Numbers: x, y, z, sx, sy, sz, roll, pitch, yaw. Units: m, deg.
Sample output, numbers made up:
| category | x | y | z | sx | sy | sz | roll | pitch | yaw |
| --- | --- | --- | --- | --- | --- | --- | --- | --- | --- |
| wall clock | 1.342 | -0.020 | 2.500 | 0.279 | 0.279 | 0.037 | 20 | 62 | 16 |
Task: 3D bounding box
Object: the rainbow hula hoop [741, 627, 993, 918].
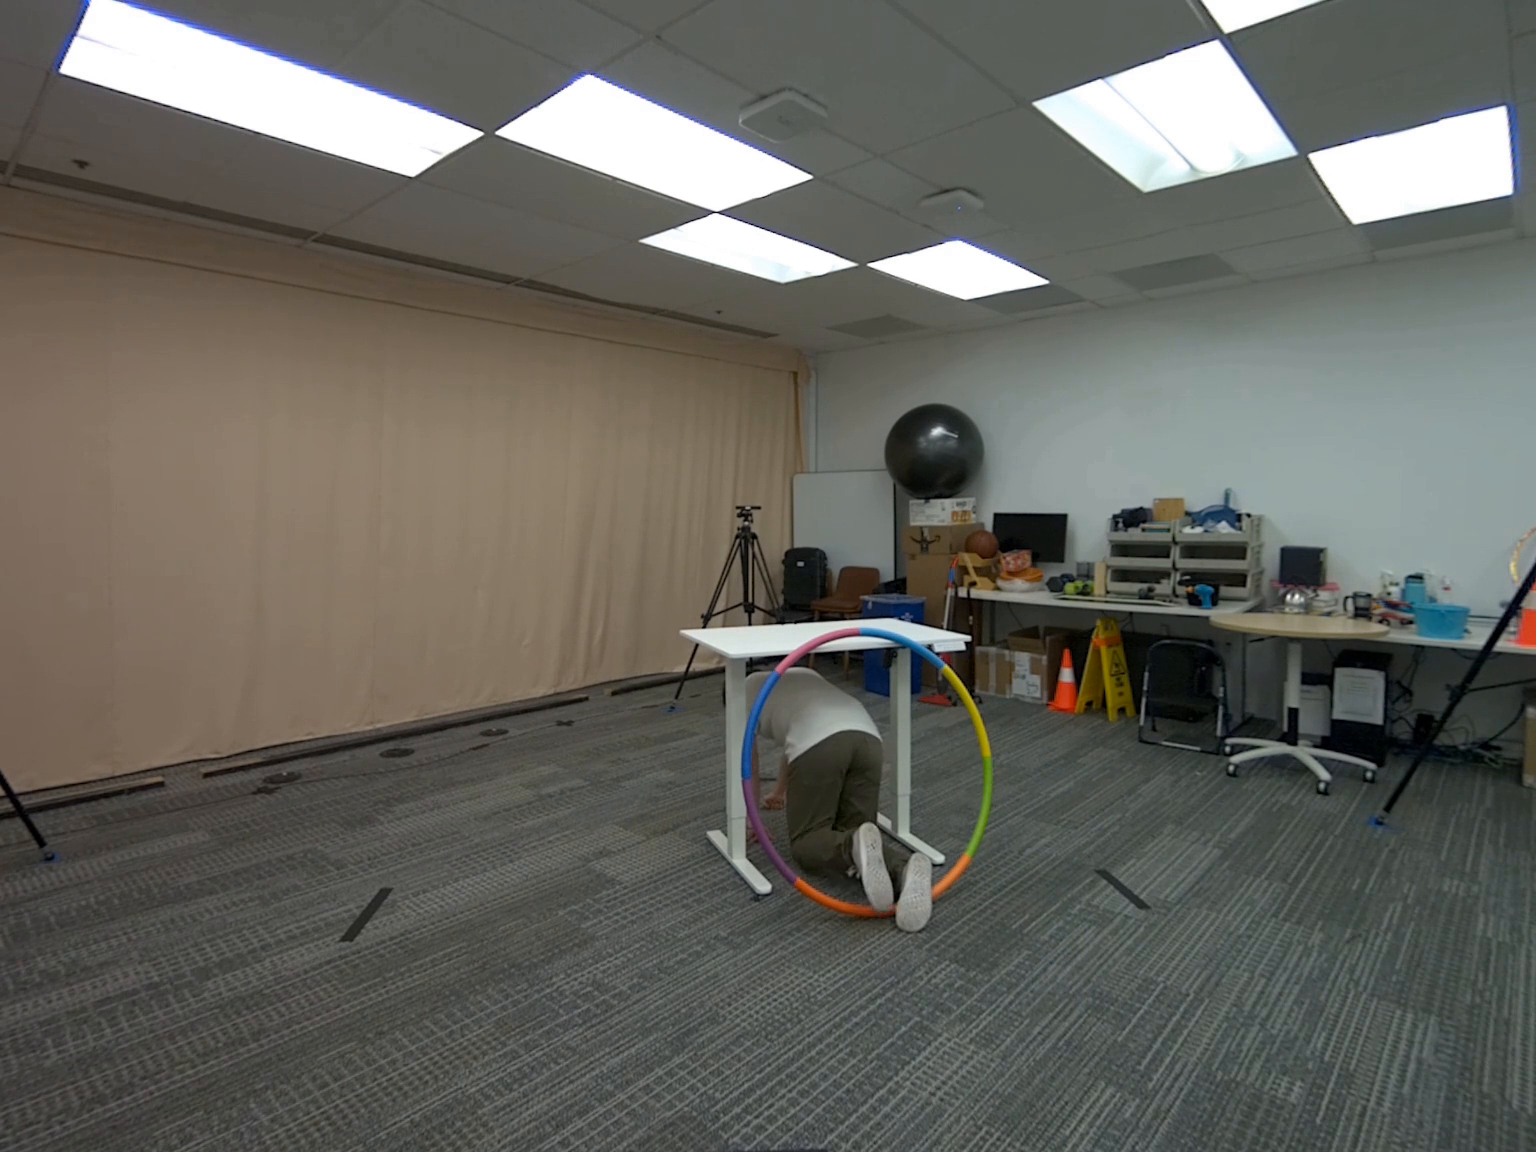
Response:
| category | x | y | z | sx | sy | sz | roll | pitch | yaw |
| --- | --- | --- | --- | --- | --- | --- | --- | --- | --- |
| rainbow hula hoop | 0.380 | 0.677 | 2.967 | 0.959 | 0.988 | 0.036 | -2 | -13 | -20 |
